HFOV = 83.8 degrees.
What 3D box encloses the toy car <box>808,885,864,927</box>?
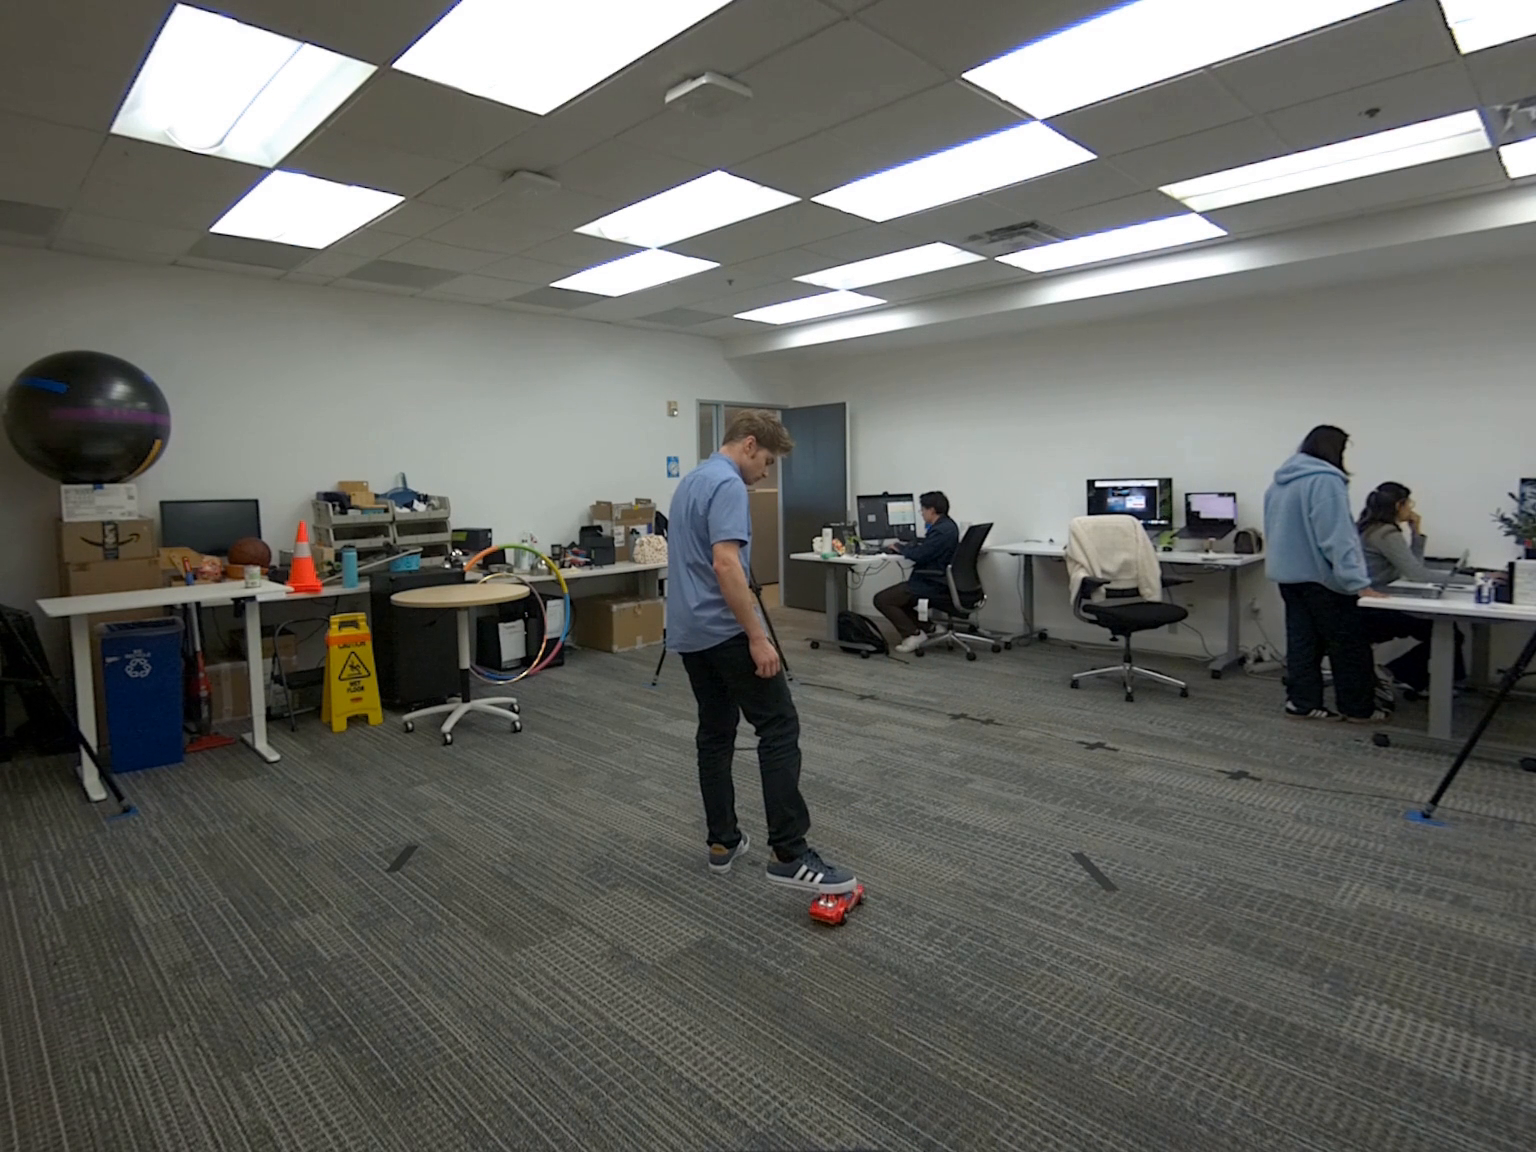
[{"bbox_3d":[0.224,1.051,2.743,0.134,0.083,0.247,2,-4,31],"label":"toy car"}]
